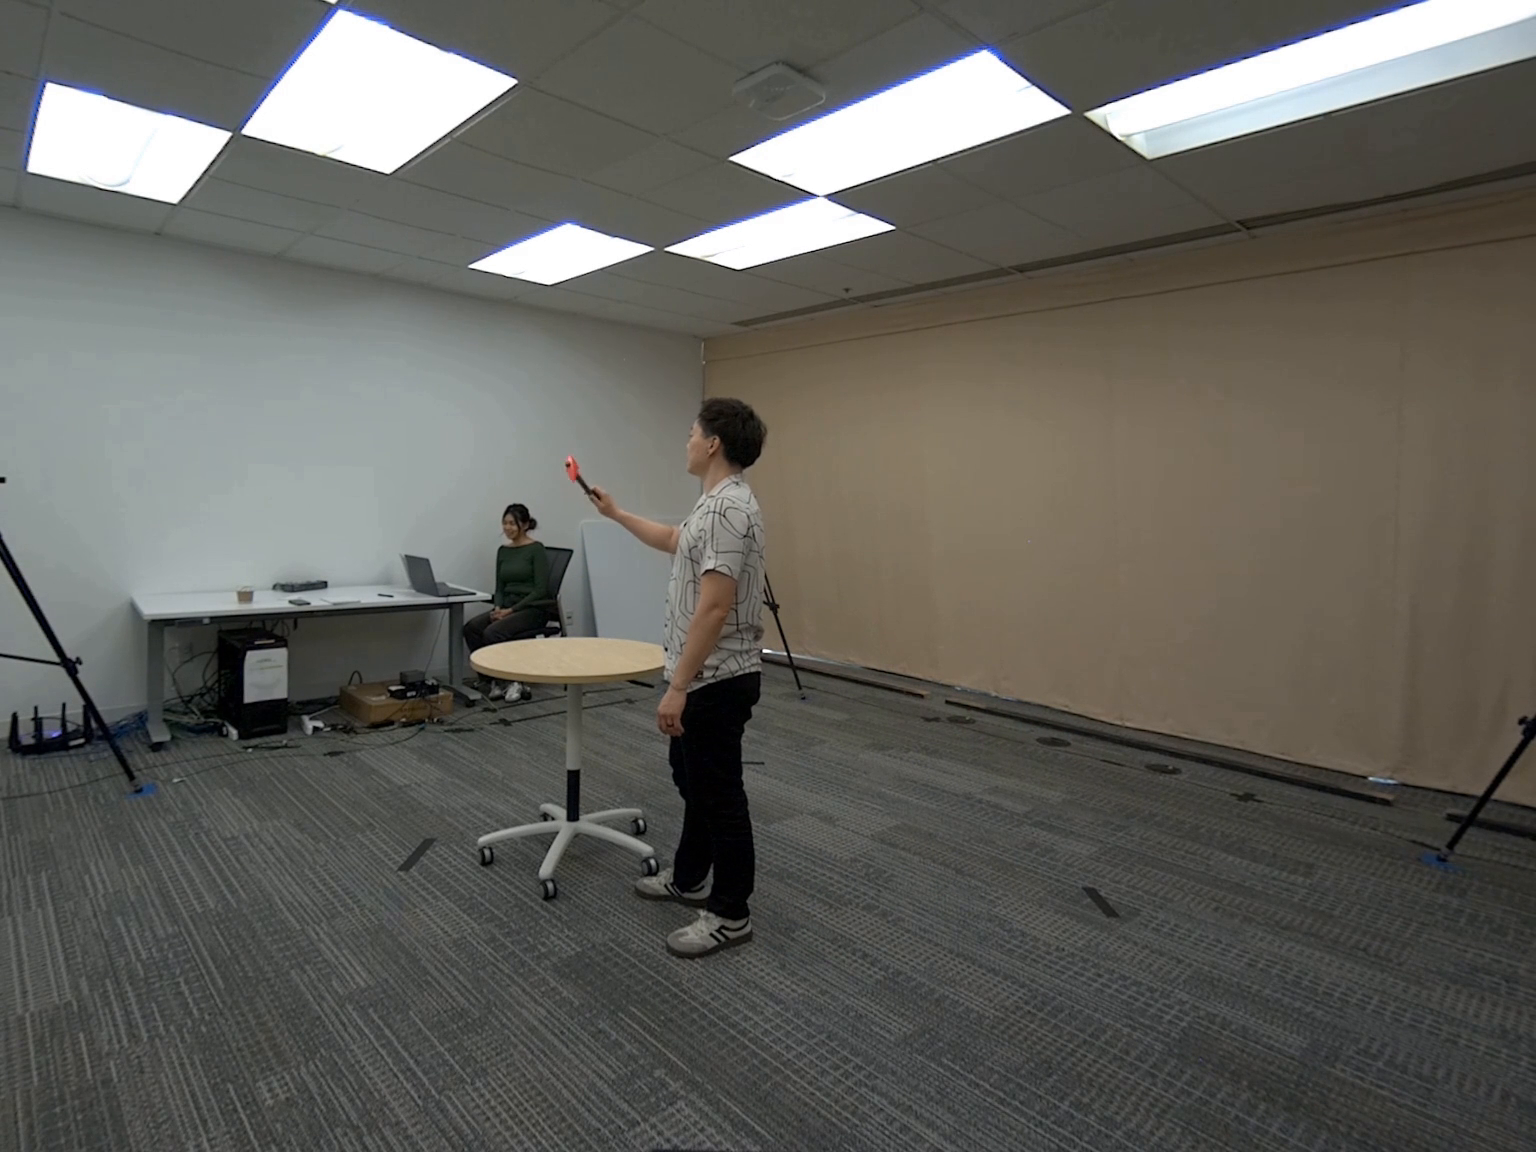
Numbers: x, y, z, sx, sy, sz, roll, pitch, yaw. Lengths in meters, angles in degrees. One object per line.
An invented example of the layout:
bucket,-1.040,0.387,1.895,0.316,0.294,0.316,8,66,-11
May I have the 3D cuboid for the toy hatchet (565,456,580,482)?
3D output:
toy hatchet,-0.632,-0.324,2.856,0.030,0.134,0.264,-23,-21,6
